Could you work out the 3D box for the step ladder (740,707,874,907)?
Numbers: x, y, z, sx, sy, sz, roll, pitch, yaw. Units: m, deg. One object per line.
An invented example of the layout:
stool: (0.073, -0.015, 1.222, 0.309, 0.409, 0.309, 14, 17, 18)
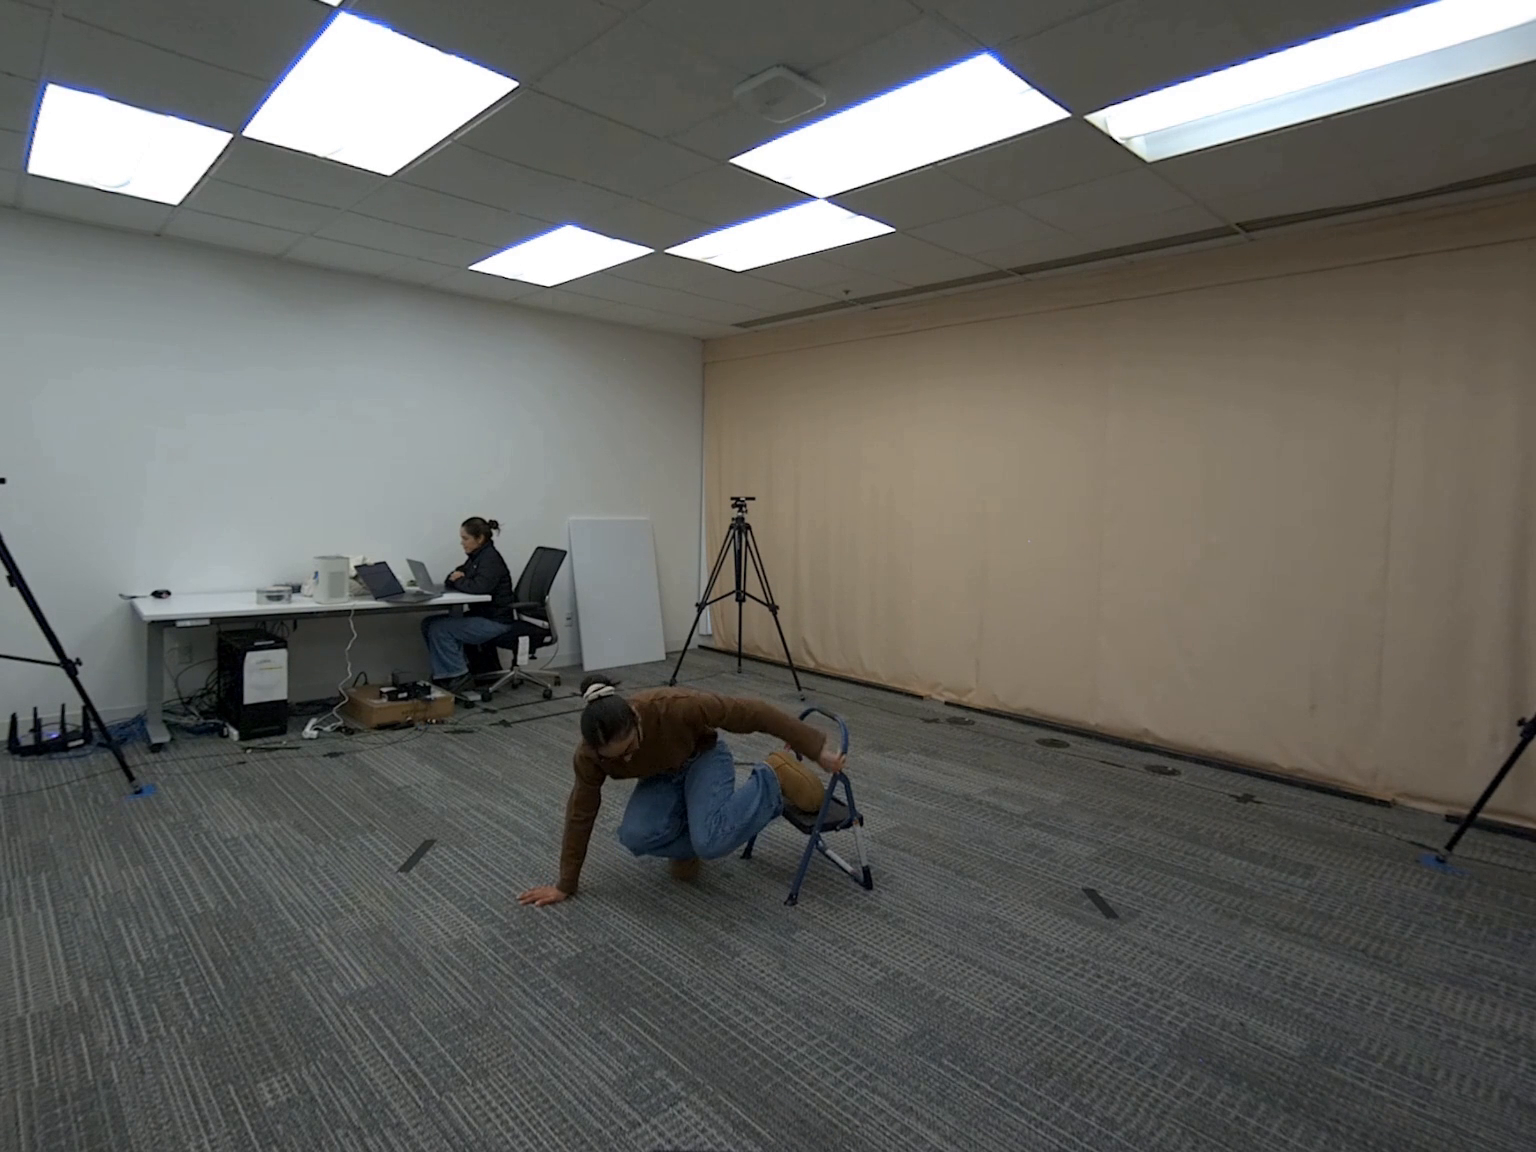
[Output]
step ladder: (0.142, 0.809, 3.125, 0.343, 0.605, 0.439, 0, 4, -24)
